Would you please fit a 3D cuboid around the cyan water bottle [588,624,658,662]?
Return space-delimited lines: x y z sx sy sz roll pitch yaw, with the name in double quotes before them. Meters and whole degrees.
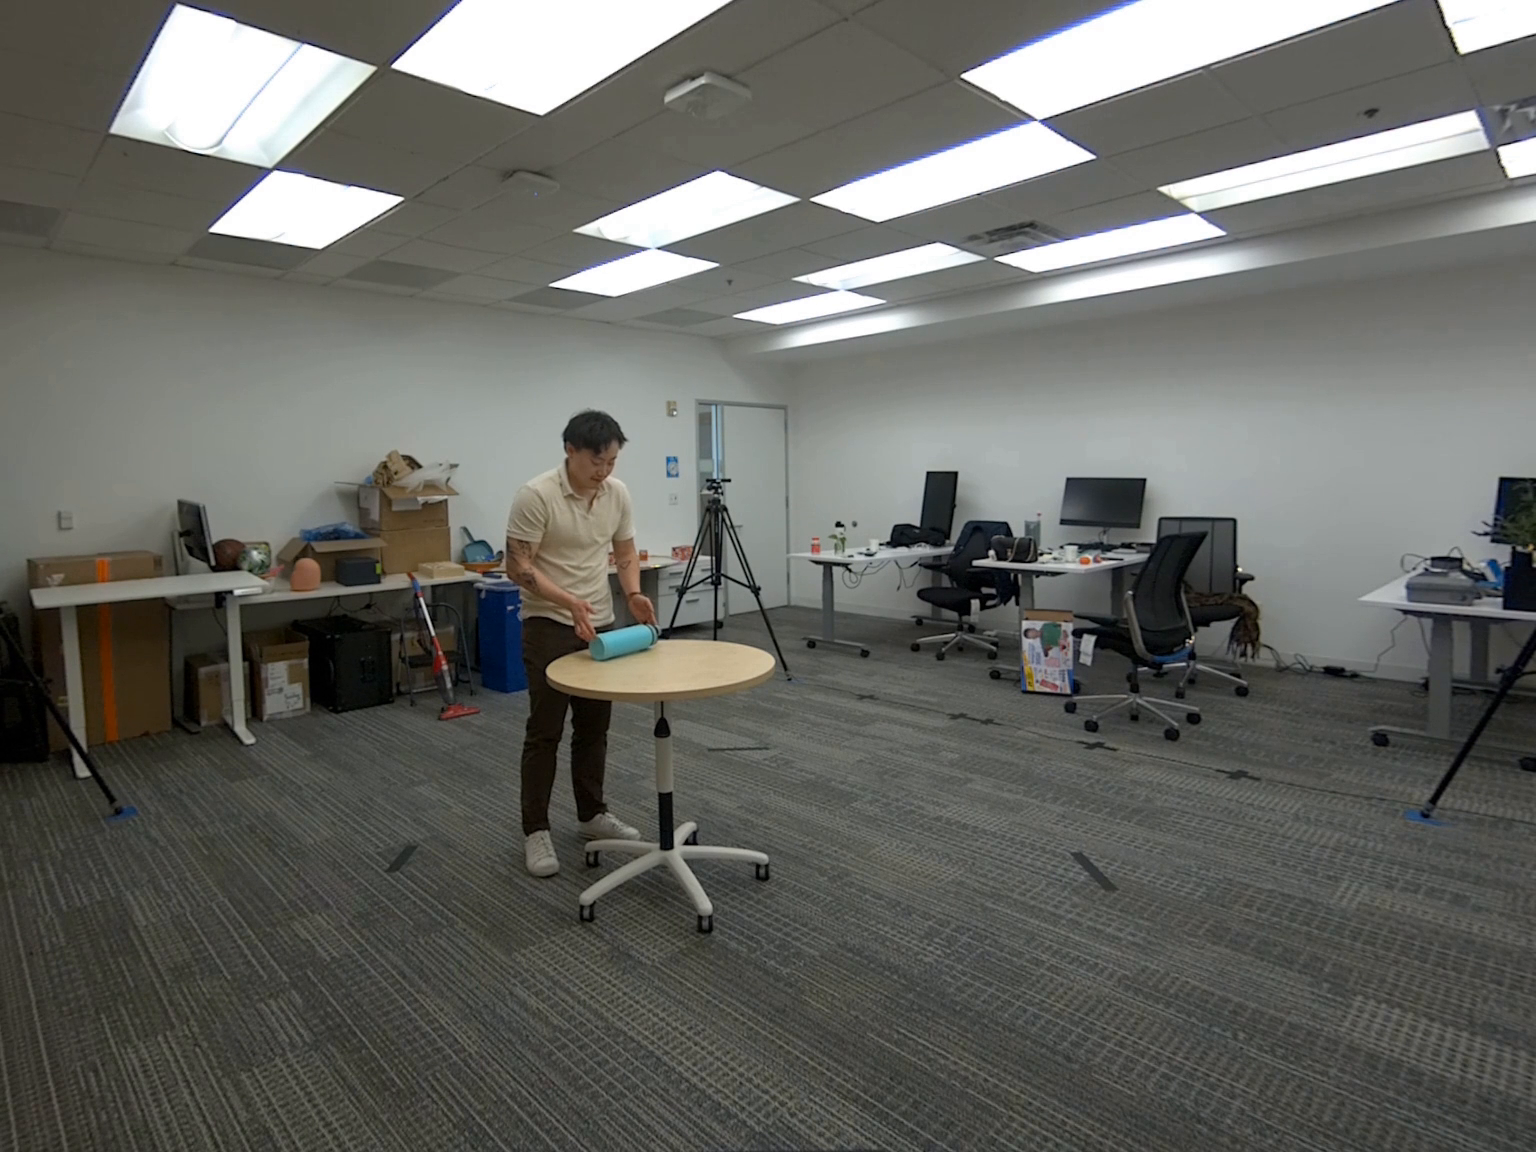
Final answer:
"cyan water bottle" -0.499 0.228 3.030 0.095 0.092 0.277 3 9 39
